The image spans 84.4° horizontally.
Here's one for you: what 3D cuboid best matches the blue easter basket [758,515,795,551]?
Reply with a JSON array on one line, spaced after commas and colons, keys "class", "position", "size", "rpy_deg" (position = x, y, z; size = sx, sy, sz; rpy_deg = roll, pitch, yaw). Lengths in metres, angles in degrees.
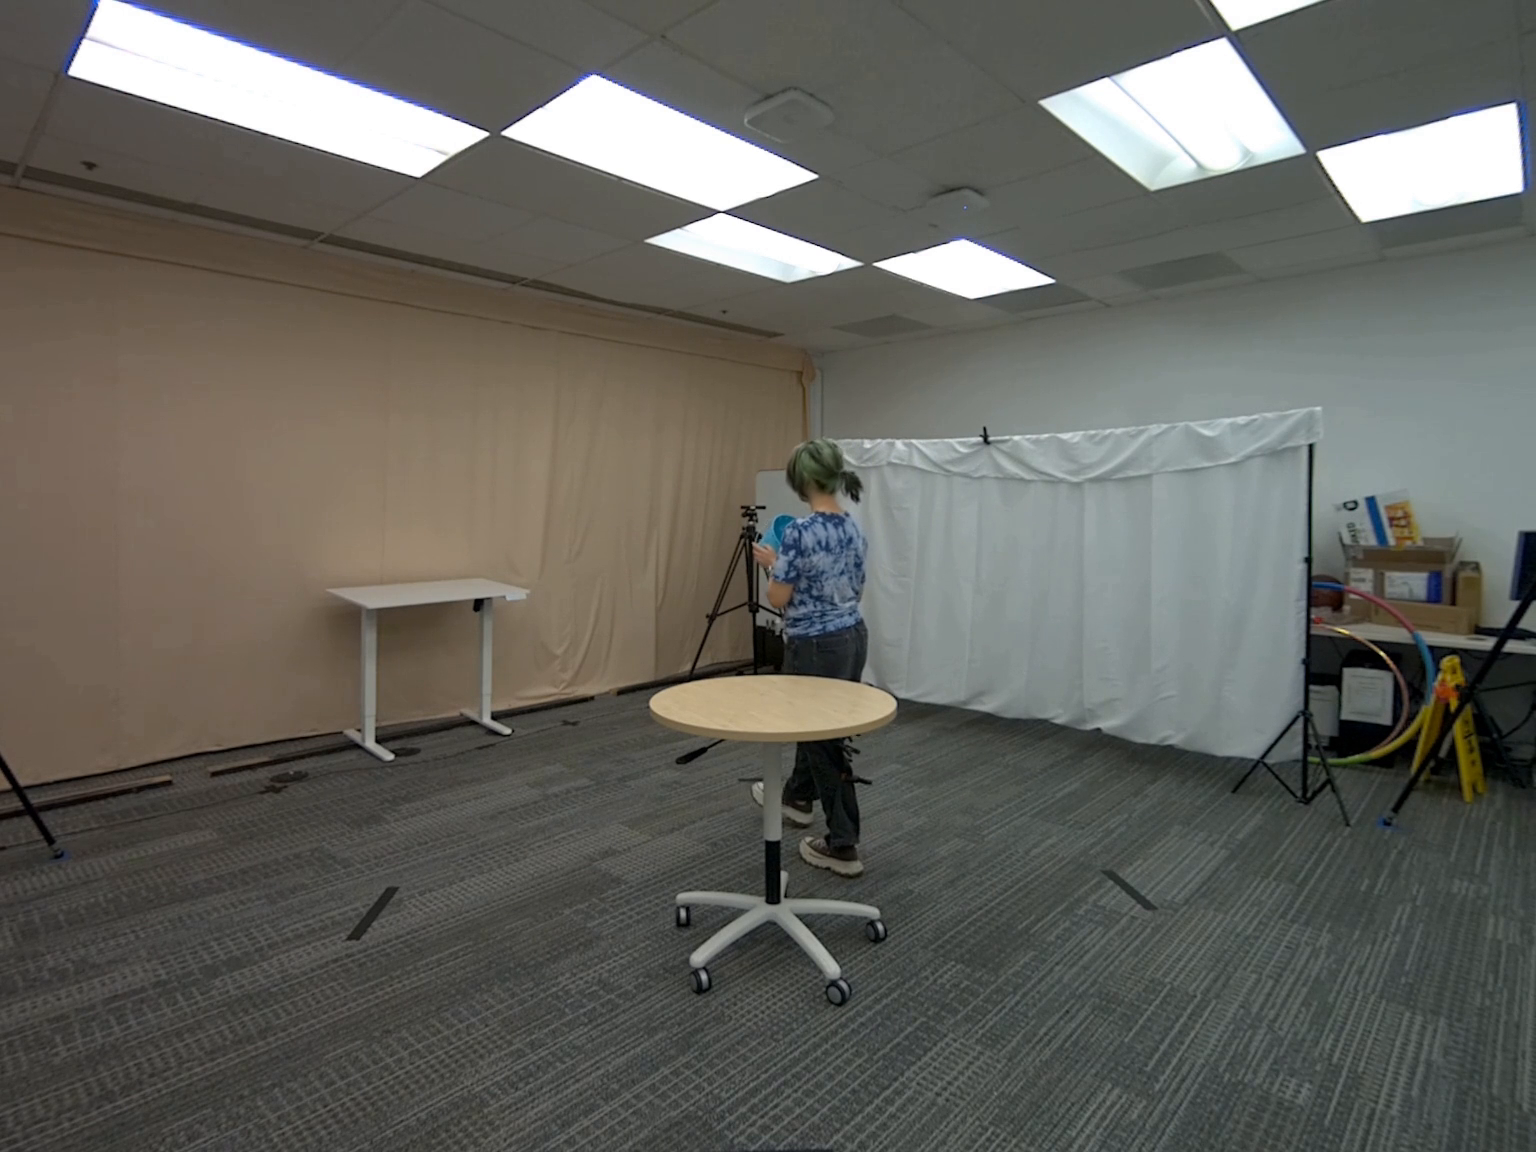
[{"class": "blue easter basket", "position": [0.069, -0.124, 3.496], "size": [0.236, 0.249, 0.157], "rpy_deg": [-4, -30, -43]}]
